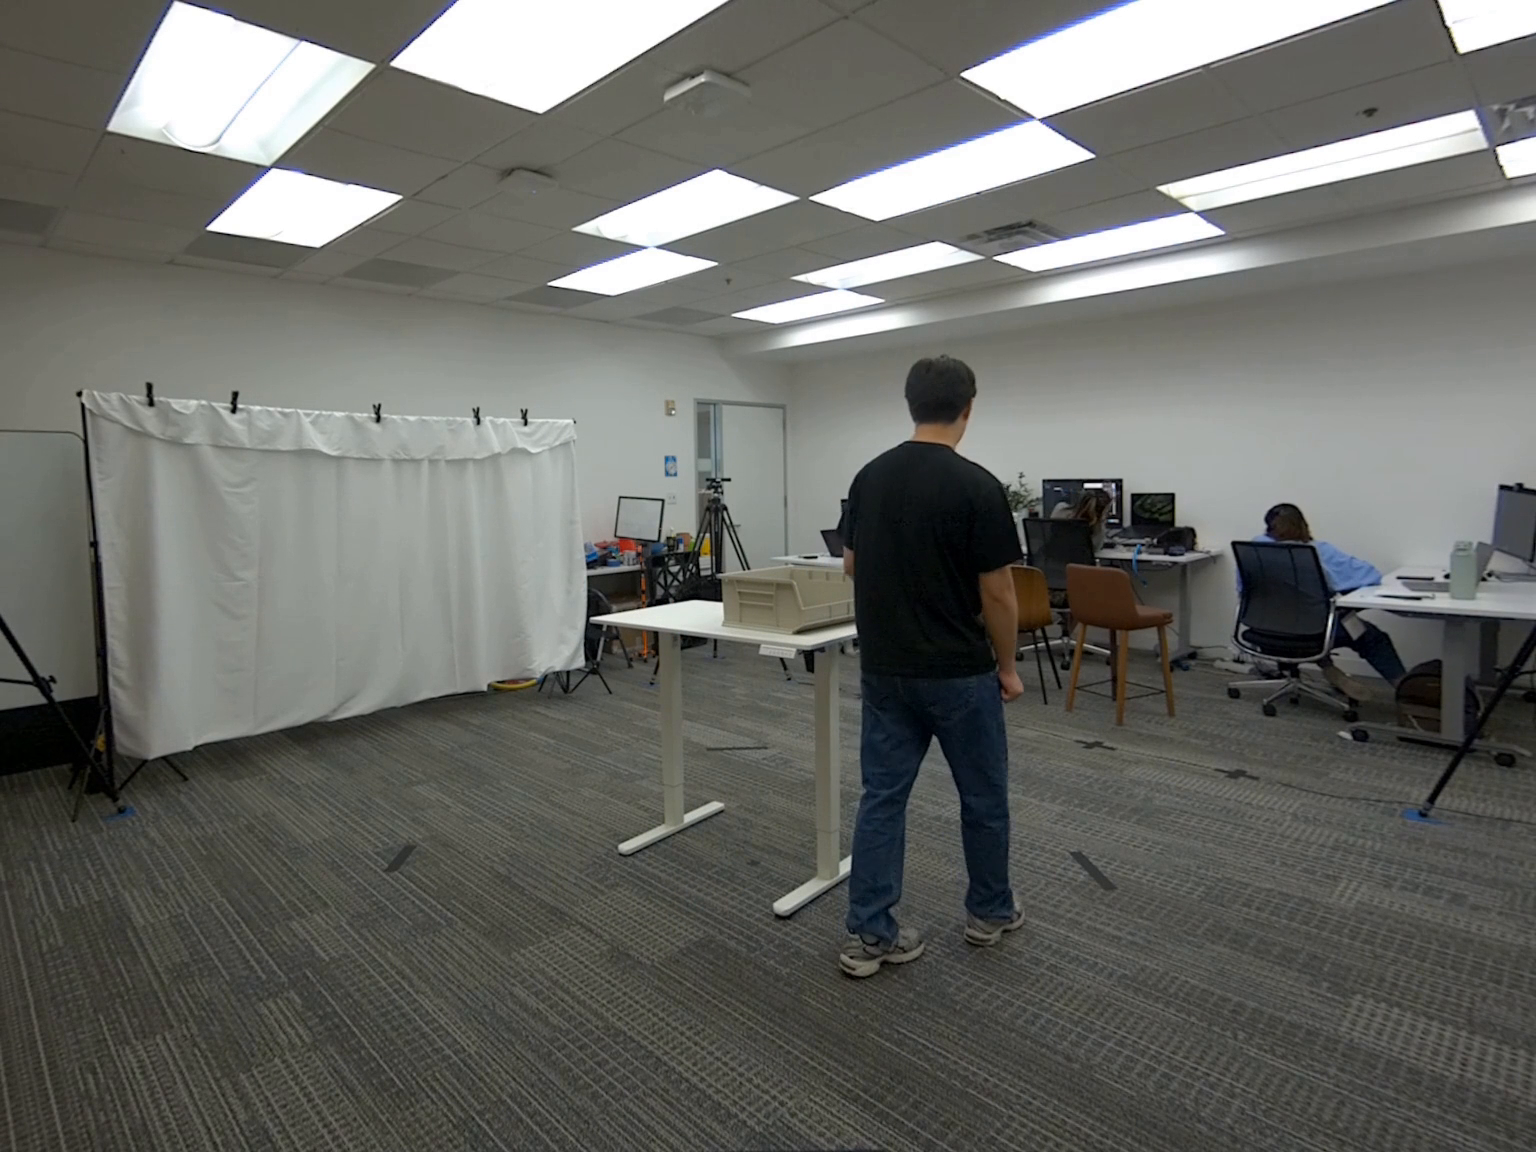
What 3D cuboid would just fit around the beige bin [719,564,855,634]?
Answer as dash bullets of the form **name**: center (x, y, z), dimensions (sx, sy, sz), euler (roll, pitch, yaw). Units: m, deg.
- **beige bin**: center (0.107, 0.081, 2.994), dimensions (0.389, 0.188, 0.411), euler (3, 7, 43)
